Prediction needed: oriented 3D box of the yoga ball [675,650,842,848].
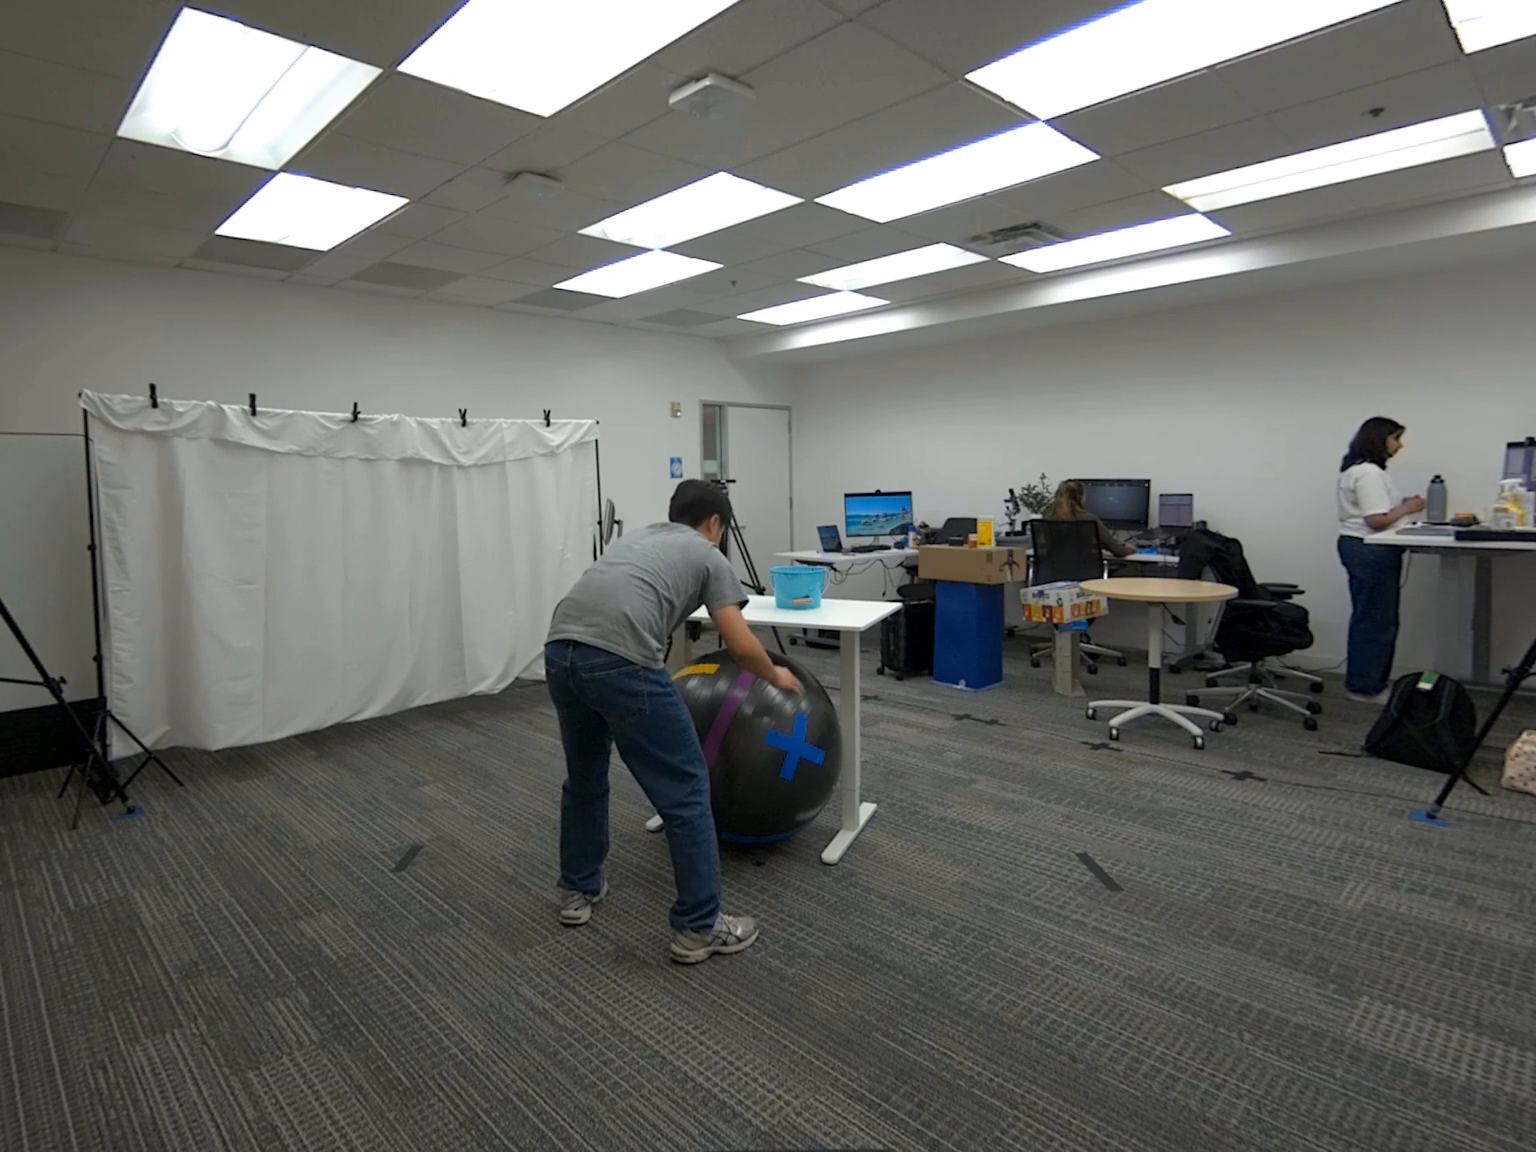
[{"bbox_3d":[-0.094,0.654,3.306,0.757,0.755,0.762,-1,5,-2],"label":"yoga ball"}]
